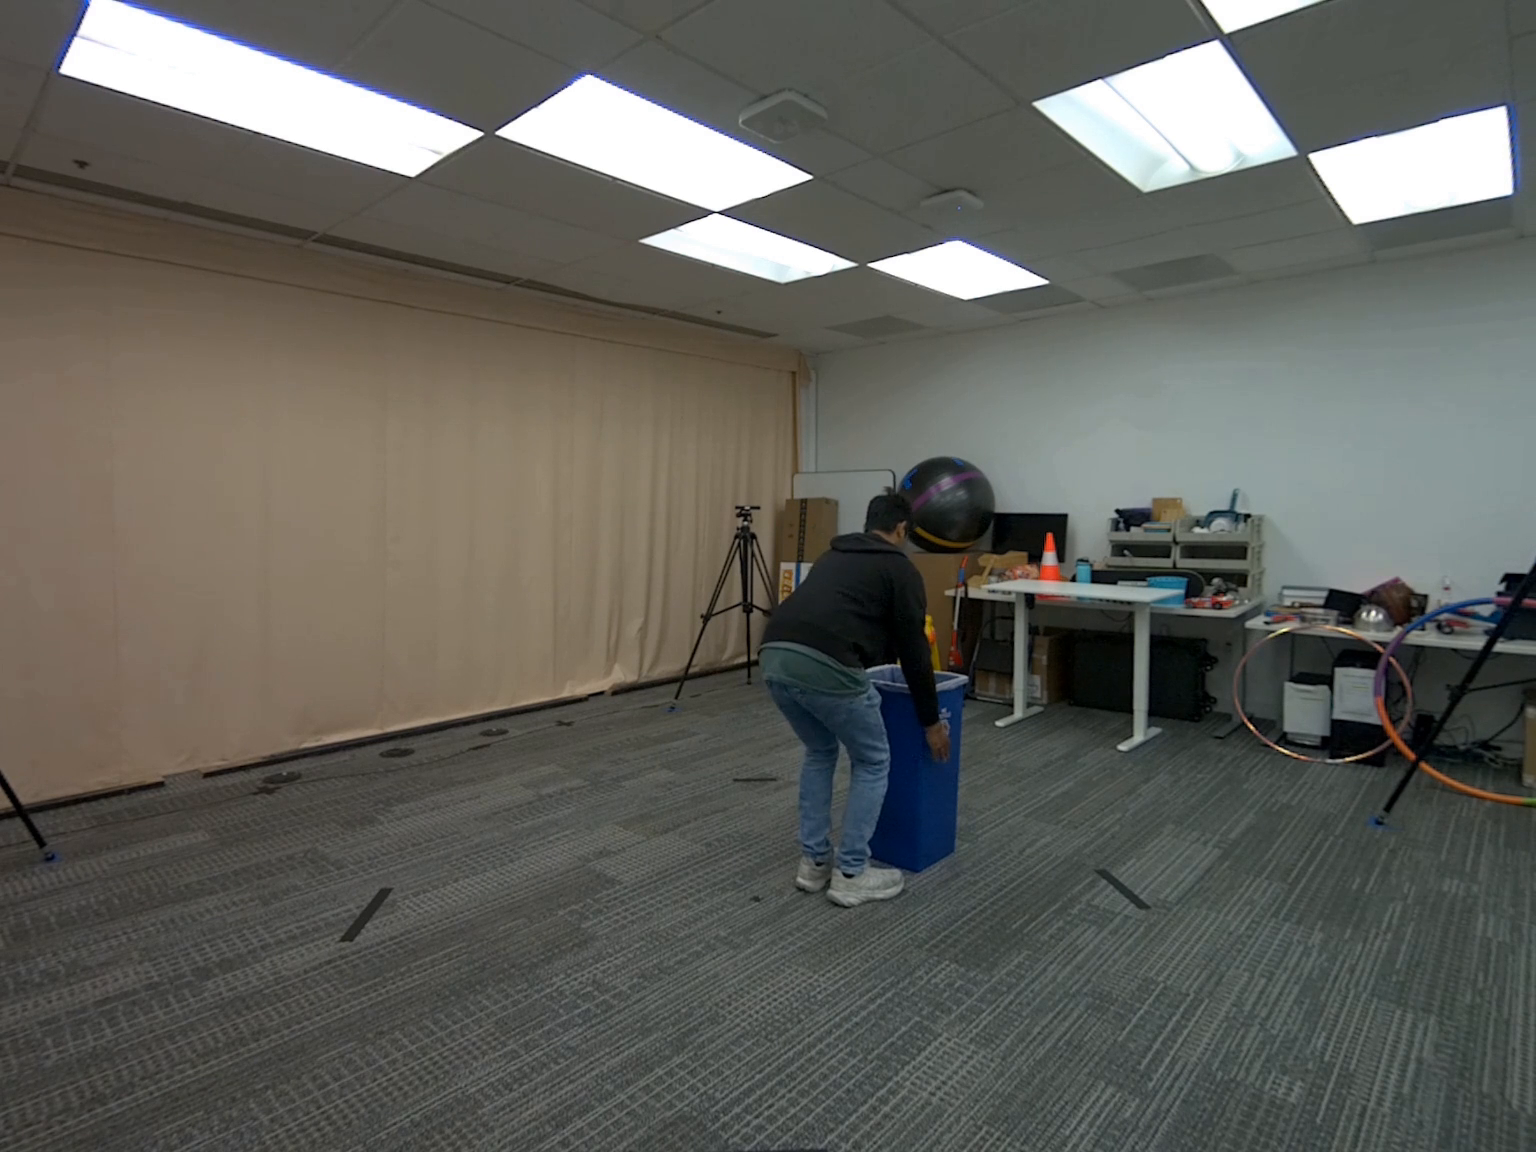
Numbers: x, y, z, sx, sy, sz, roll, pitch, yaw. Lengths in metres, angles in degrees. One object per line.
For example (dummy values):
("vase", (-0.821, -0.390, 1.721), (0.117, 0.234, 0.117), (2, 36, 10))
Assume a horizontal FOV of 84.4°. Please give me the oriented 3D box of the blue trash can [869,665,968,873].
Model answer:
("blue trash can", (0.557, 0.752, 3.388), (0.391, 0.712, 0.362), (3, 4, 42))
